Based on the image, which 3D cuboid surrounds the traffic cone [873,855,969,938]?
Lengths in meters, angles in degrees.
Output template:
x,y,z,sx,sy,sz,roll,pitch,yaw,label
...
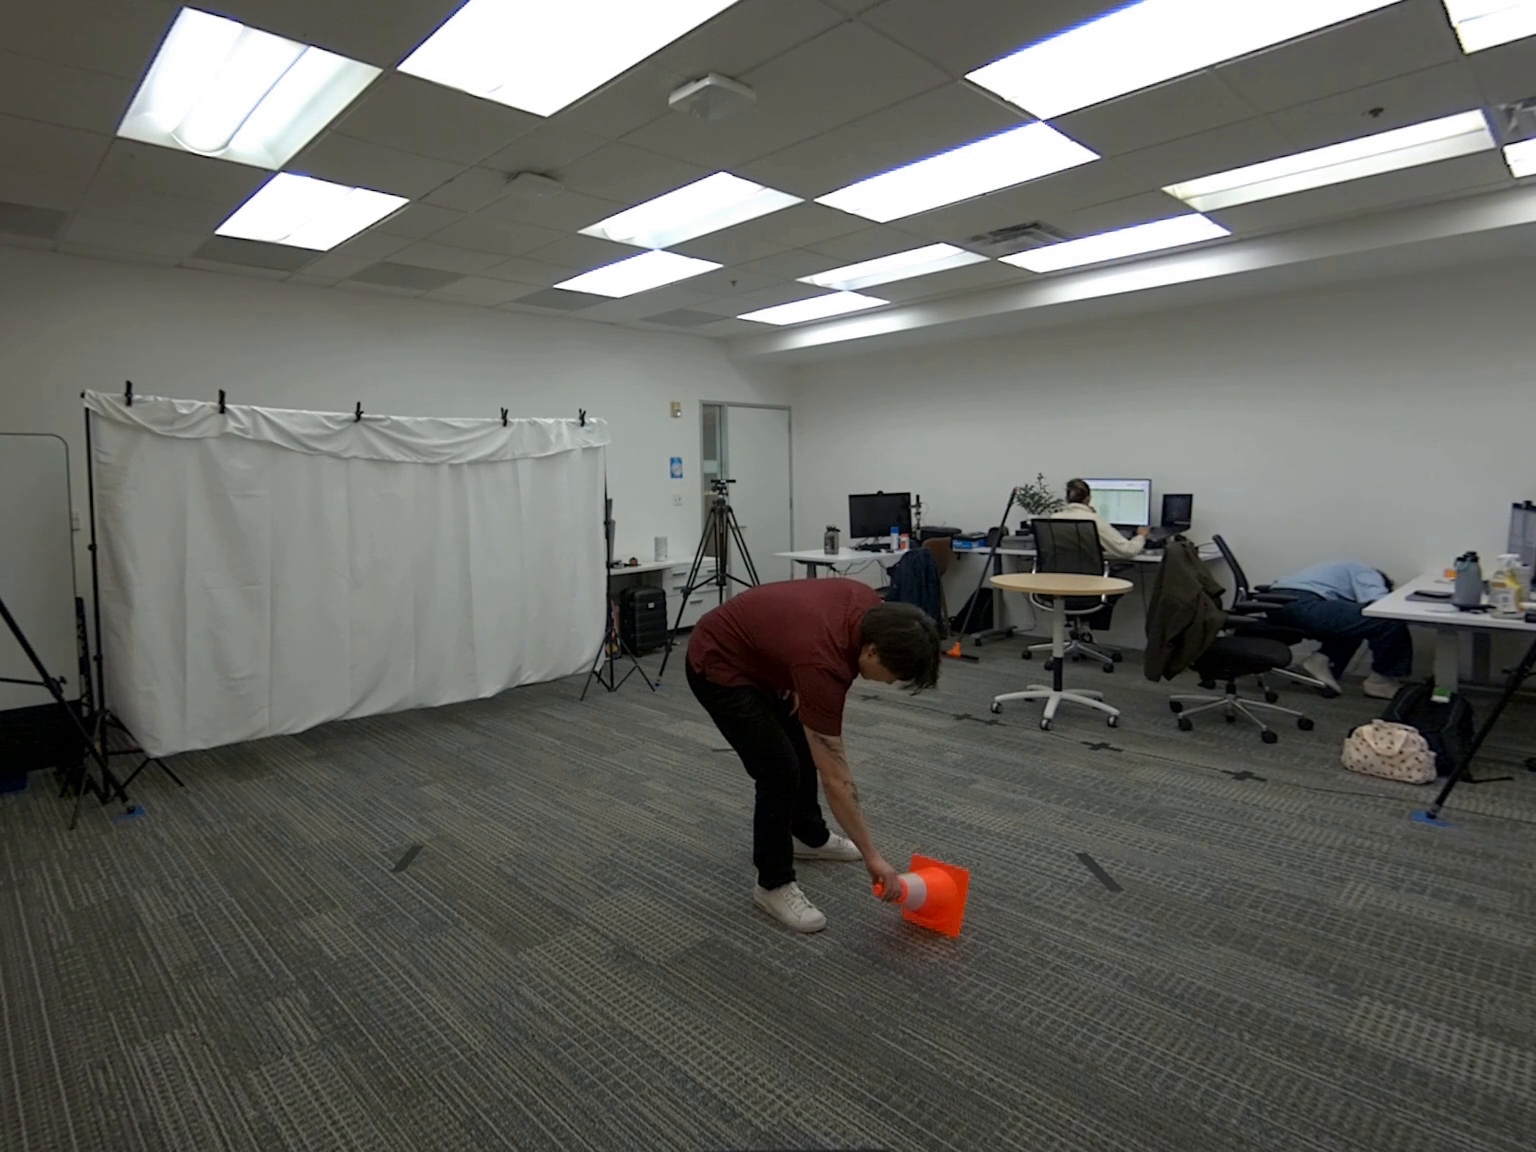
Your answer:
x,y,z,sx,sy,sz,roll,pitch,yaw,label
0.417,0.936,2.536,0.211,0.205,0.369,6,-14,39,traffic cone
